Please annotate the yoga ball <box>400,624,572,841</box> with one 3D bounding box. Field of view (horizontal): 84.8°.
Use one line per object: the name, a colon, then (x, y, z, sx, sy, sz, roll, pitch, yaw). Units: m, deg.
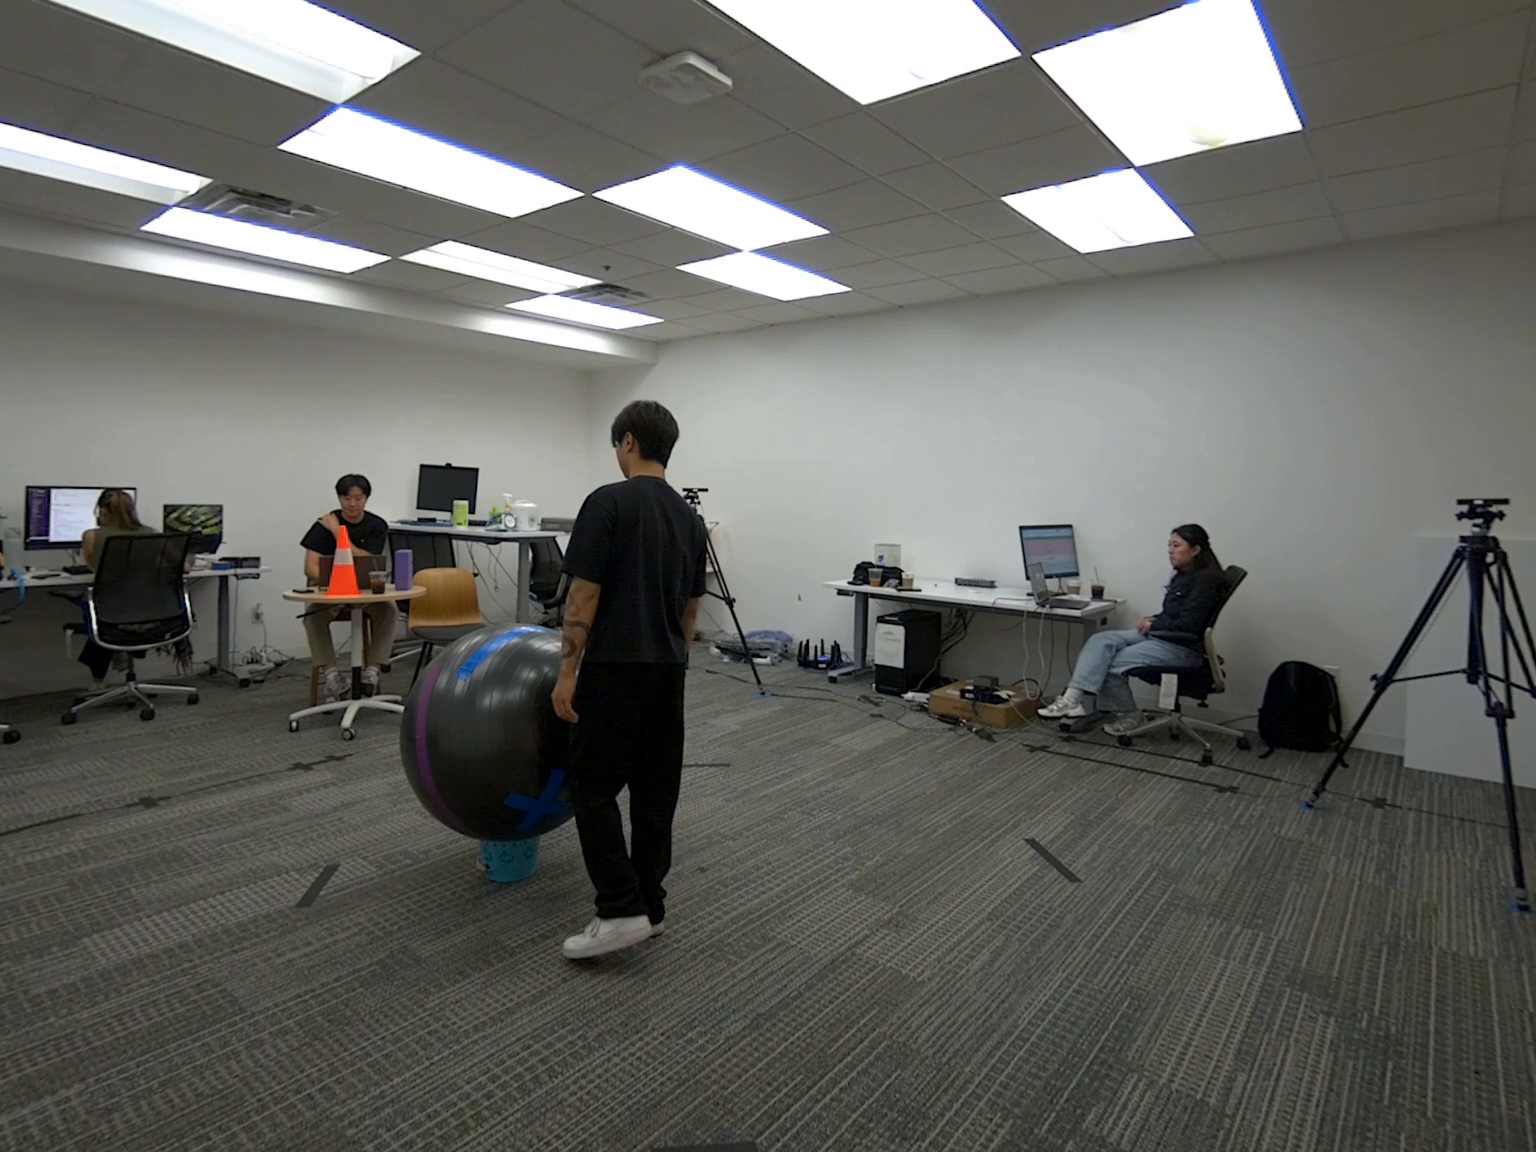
yoga ball: (-0.942, 0.554, 3.059, 0.757, 0.756, 0.762, 1, 4, -2)
